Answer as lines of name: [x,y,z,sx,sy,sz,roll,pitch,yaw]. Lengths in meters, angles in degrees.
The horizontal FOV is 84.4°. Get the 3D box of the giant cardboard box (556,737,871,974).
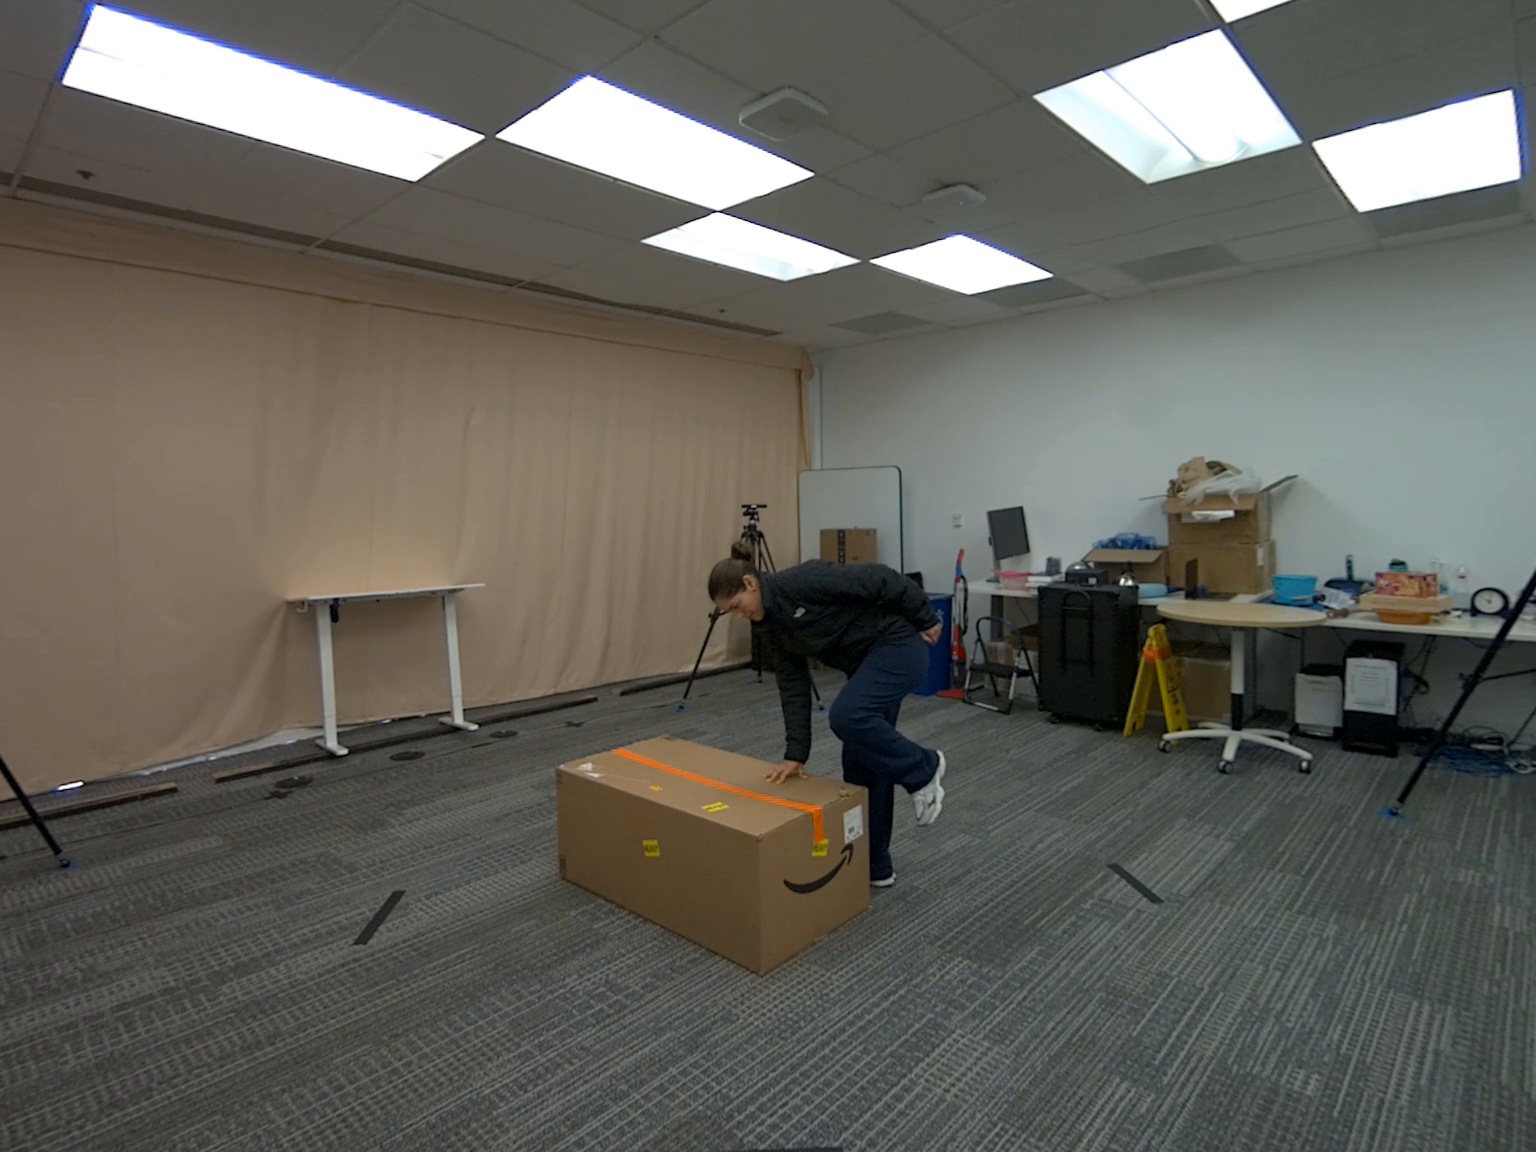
giant cardboard box: [-0.214,0.932,3.032,1.061,0.446,0.566,2,4,42]
